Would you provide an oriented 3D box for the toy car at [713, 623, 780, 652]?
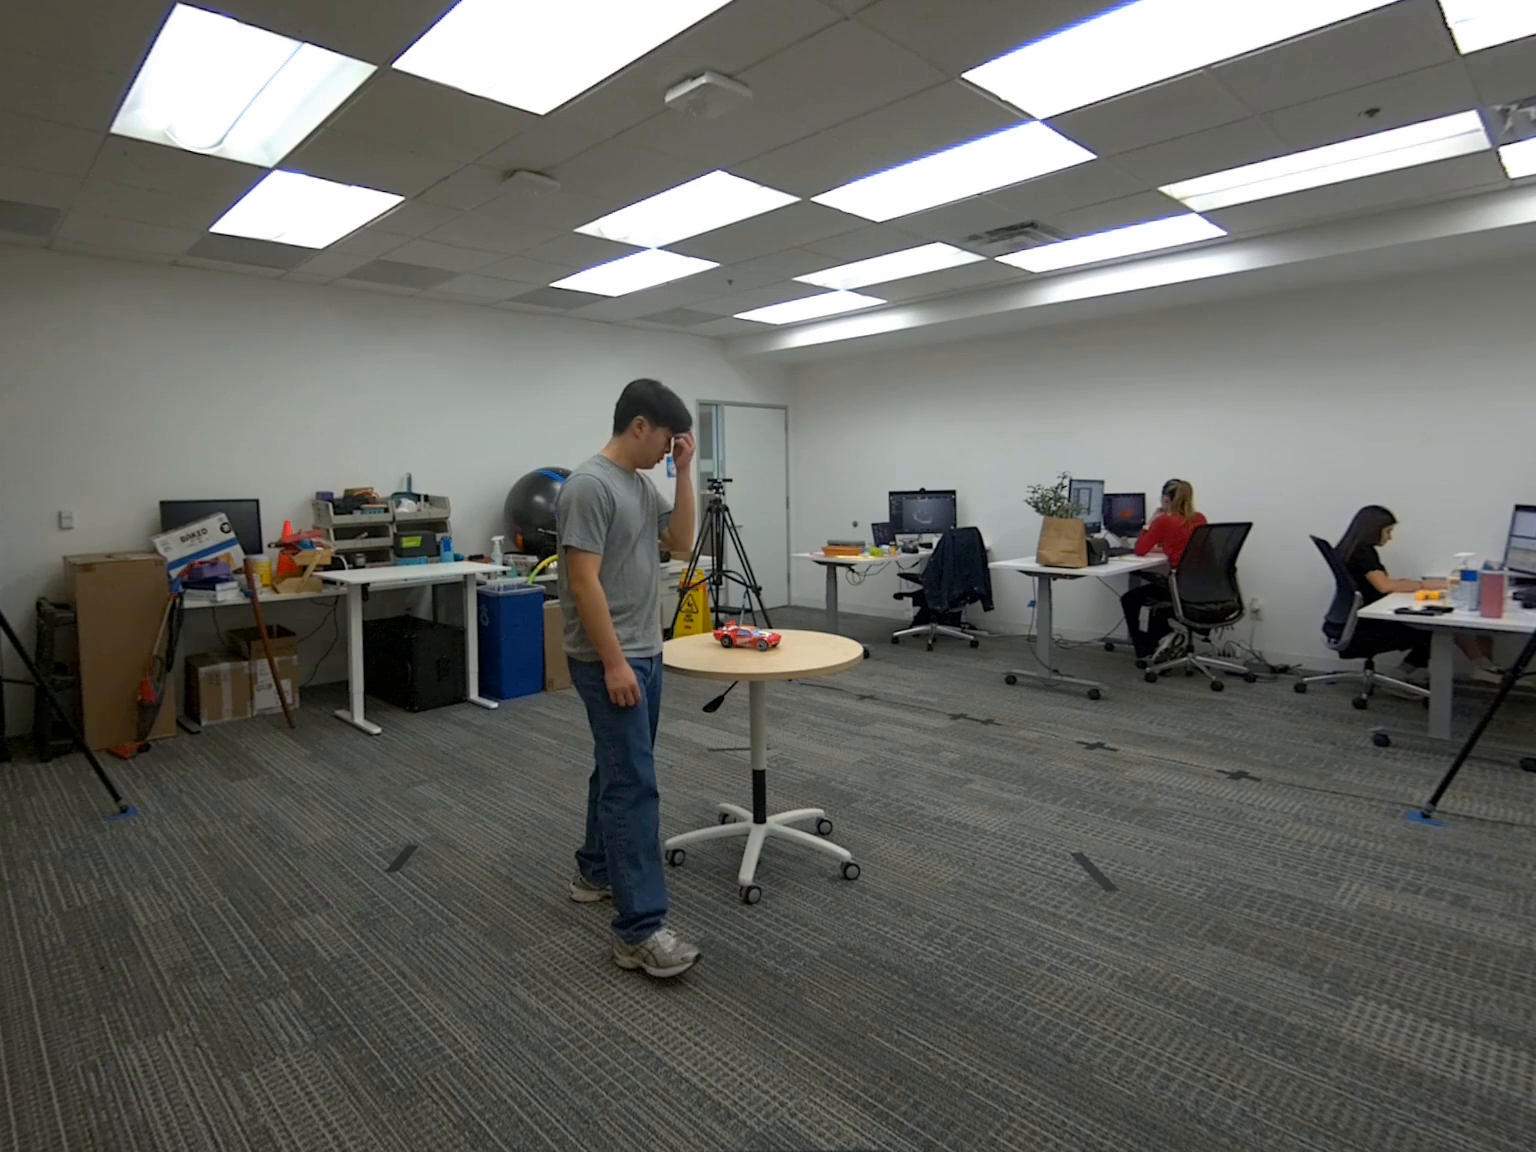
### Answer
[{"bbox_3d":[-0.079,0.227,3.131,0.262,0.082,0.127,14,13,27],"label":"toy car"}]
